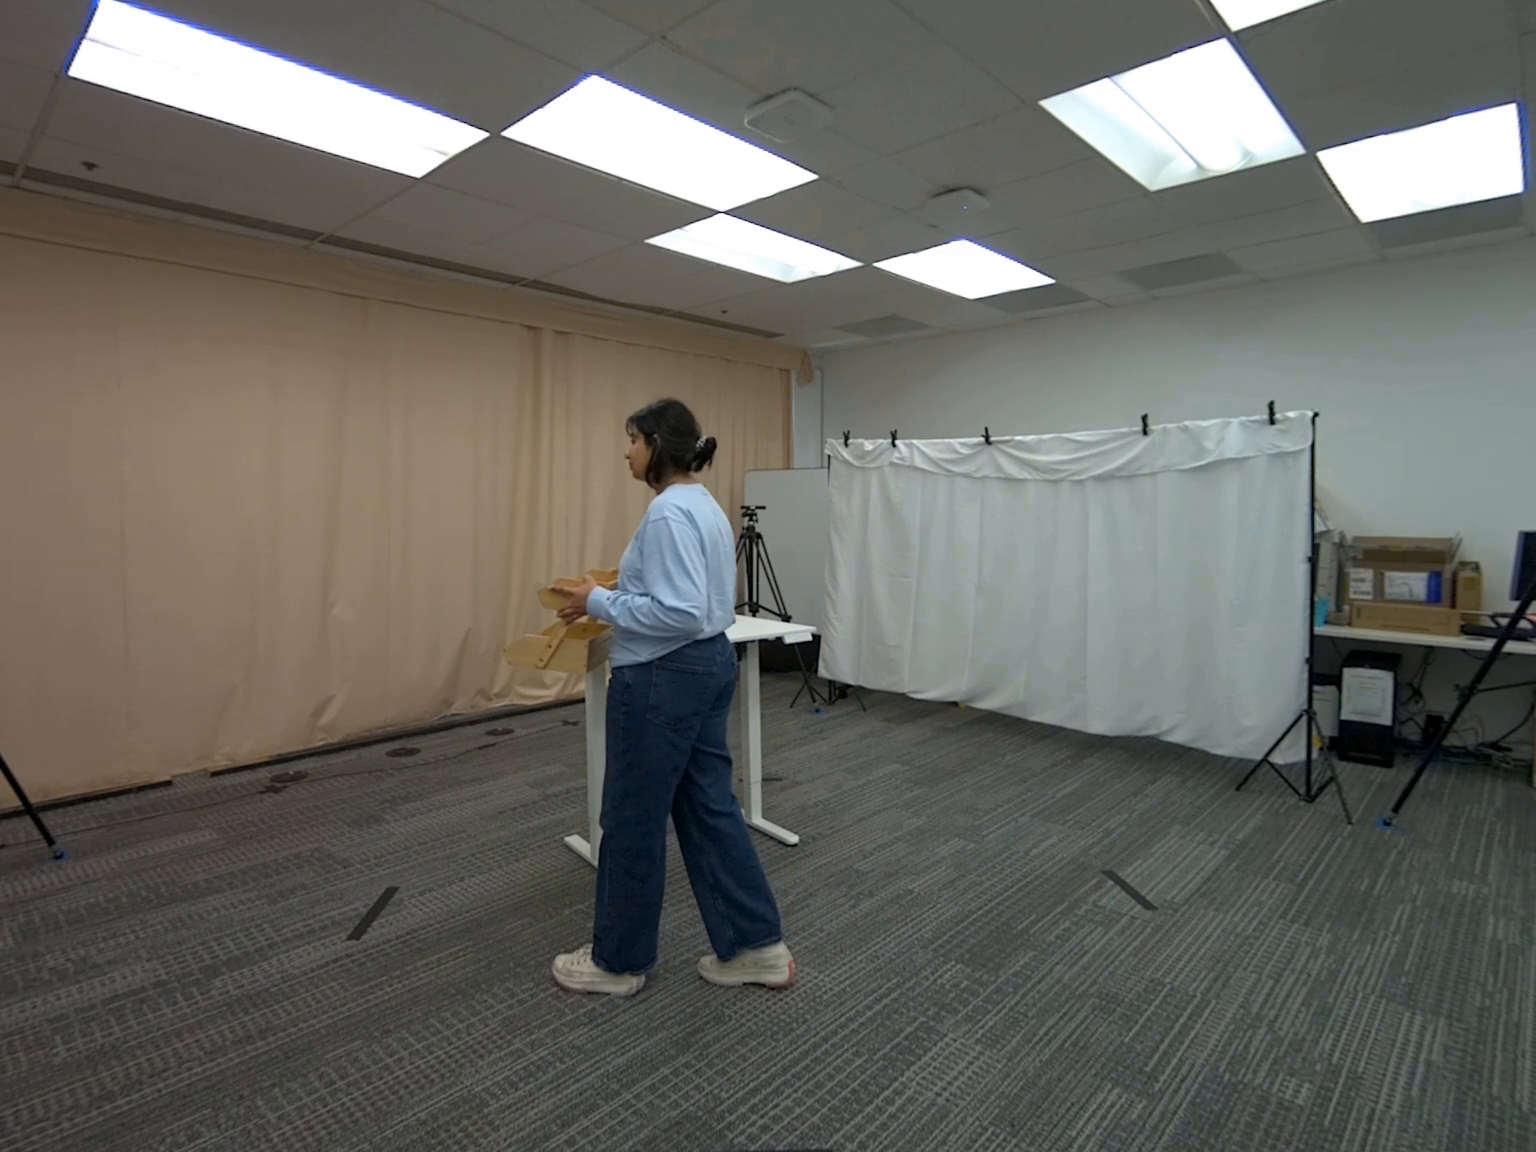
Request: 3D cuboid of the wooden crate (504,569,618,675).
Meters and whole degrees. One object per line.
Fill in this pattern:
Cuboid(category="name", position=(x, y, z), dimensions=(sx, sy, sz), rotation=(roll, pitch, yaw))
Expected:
Cuboid(category="wooden crate", position=(-0.570, 0.122, 2.472), dimensions=(0.305, 0.272, 0.322), rotation=(5, 6, 8))
